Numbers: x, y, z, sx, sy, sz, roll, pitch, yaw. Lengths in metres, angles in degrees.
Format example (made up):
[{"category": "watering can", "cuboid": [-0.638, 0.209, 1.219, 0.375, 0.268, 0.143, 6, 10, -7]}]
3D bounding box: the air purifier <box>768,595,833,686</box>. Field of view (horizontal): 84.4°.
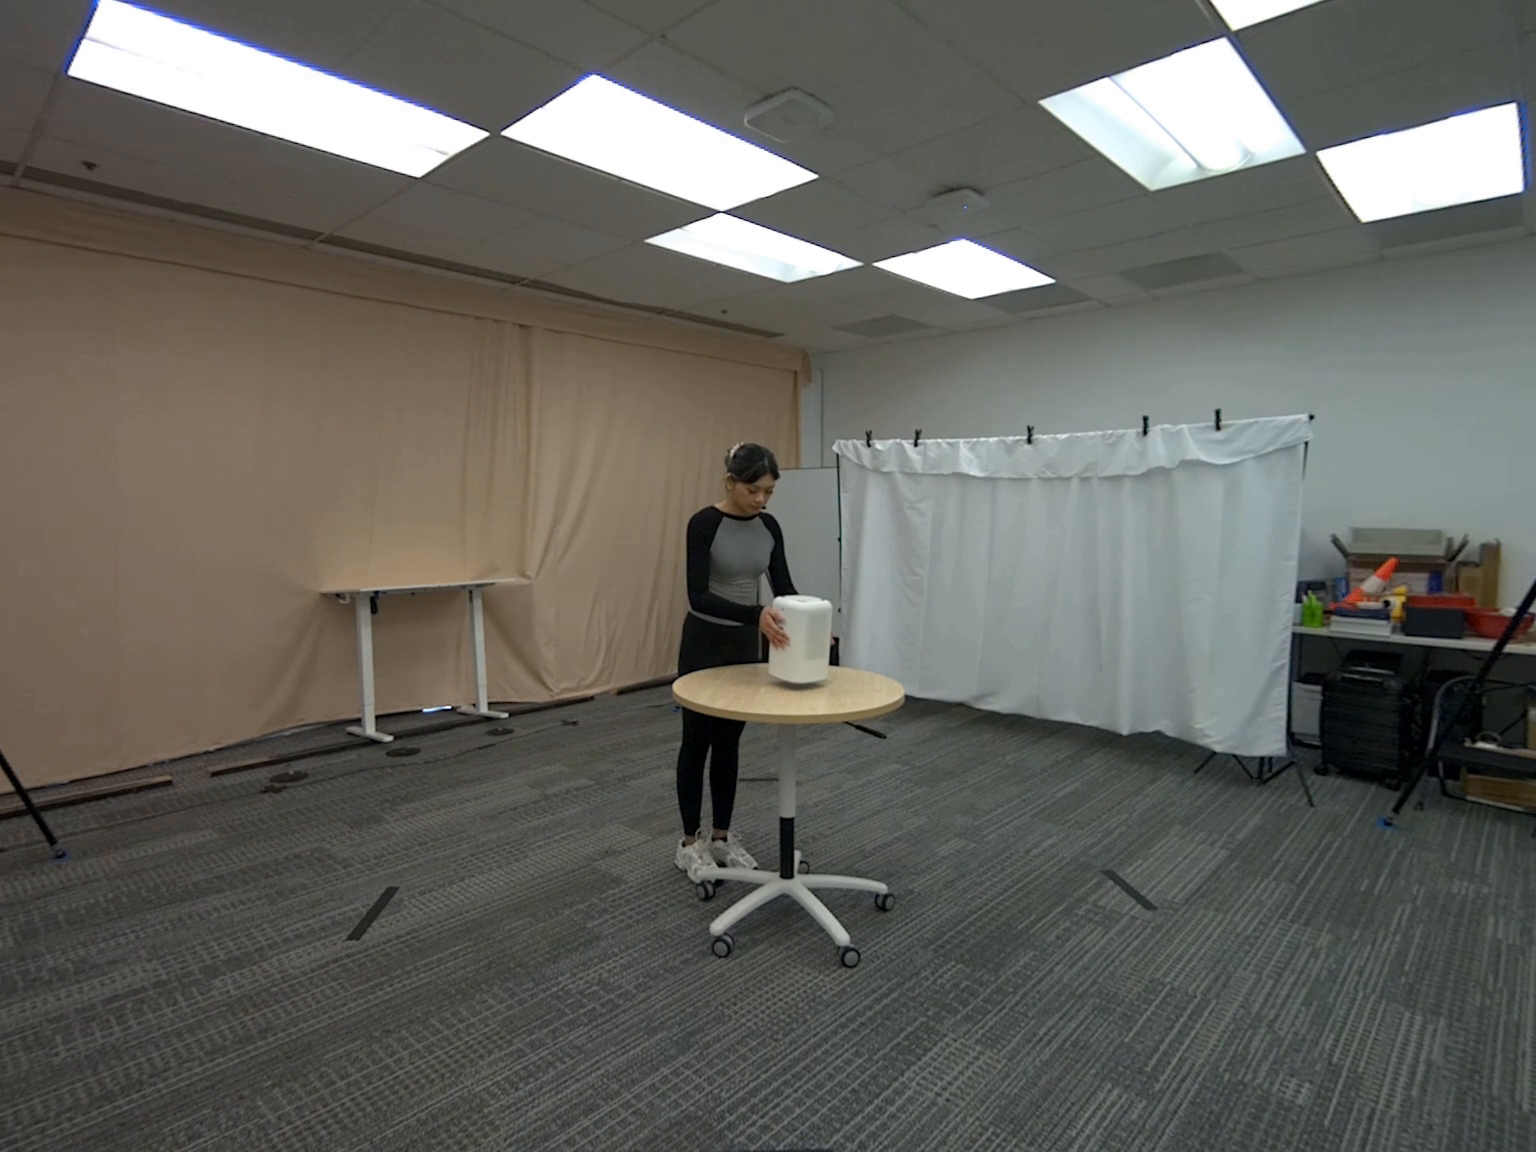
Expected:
[{"category": "air purifier", "cuboid": [0.109, 0.204, 2.802, 0.166, 0.265, 0.177, 0, 5, -40]}]
